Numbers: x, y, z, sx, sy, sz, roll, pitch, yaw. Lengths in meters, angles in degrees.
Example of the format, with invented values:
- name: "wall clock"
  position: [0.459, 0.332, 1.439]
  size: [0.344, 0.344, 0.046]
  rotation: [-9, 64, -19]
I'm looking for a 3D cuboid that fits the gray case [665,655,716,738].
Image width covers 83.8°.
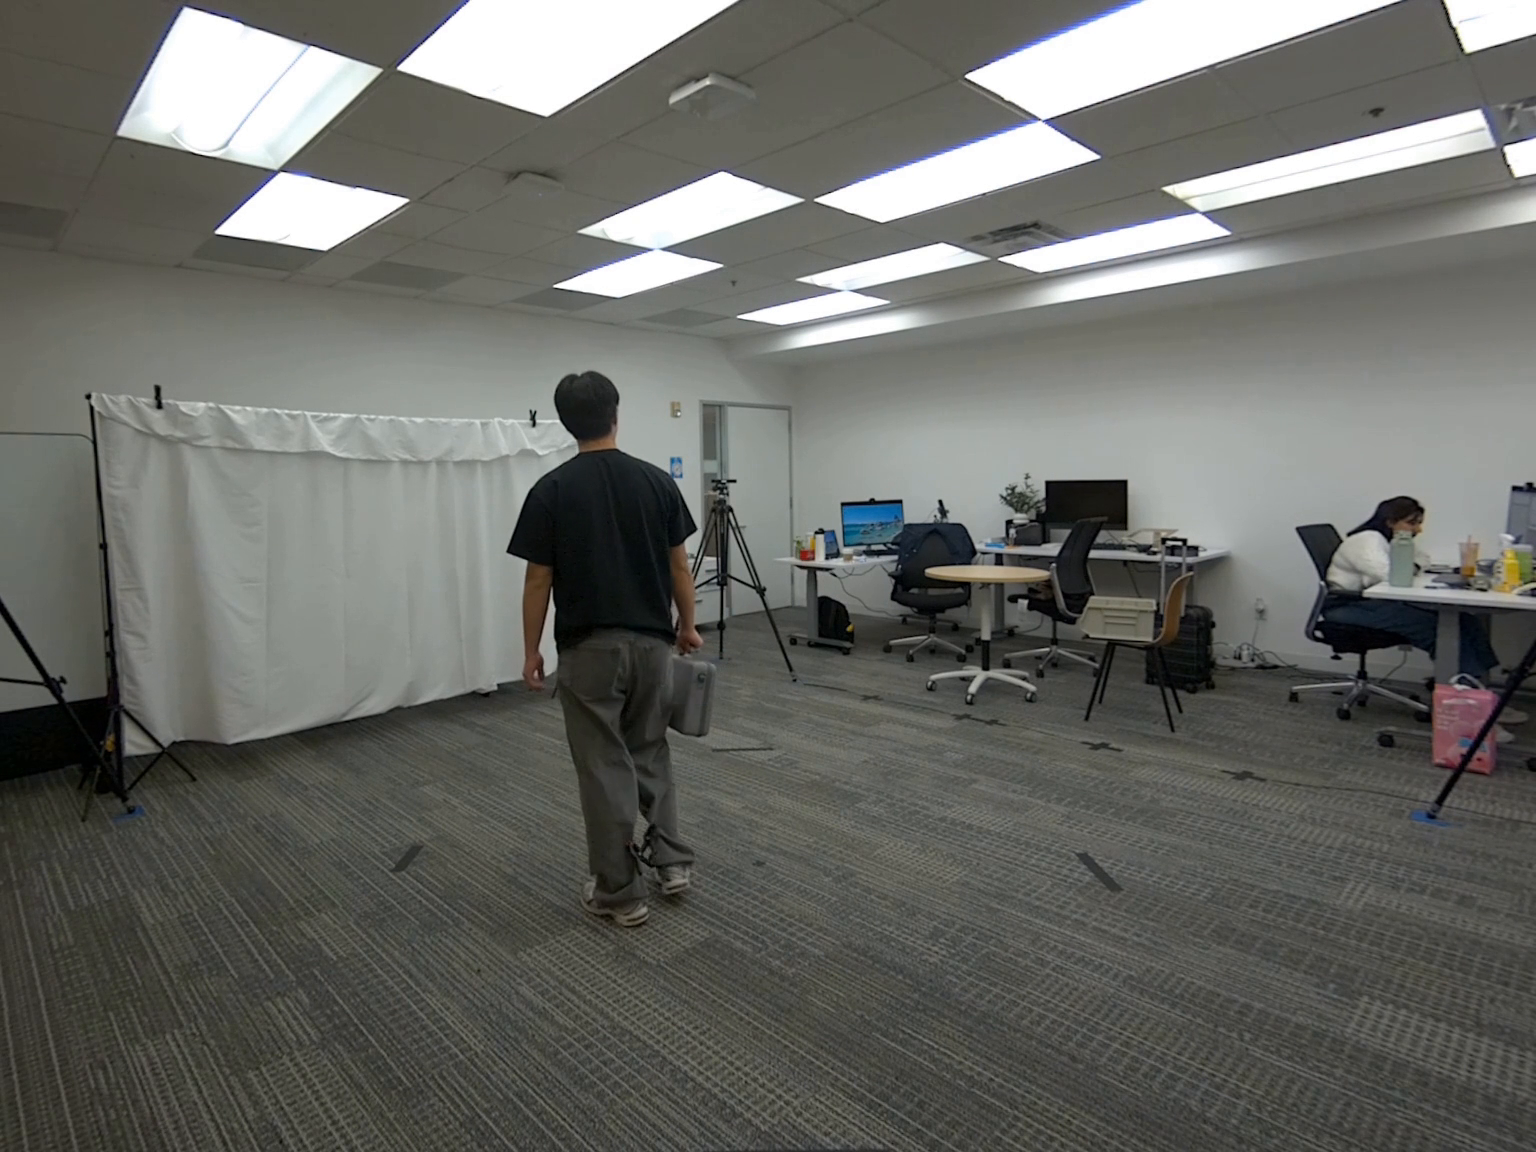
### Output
- name: "gray case"
  position: [-0.279, 0.401, 2.979]
  size: [0.101, 0.288, 0.268]
  rotation: [7, -2, -23]
